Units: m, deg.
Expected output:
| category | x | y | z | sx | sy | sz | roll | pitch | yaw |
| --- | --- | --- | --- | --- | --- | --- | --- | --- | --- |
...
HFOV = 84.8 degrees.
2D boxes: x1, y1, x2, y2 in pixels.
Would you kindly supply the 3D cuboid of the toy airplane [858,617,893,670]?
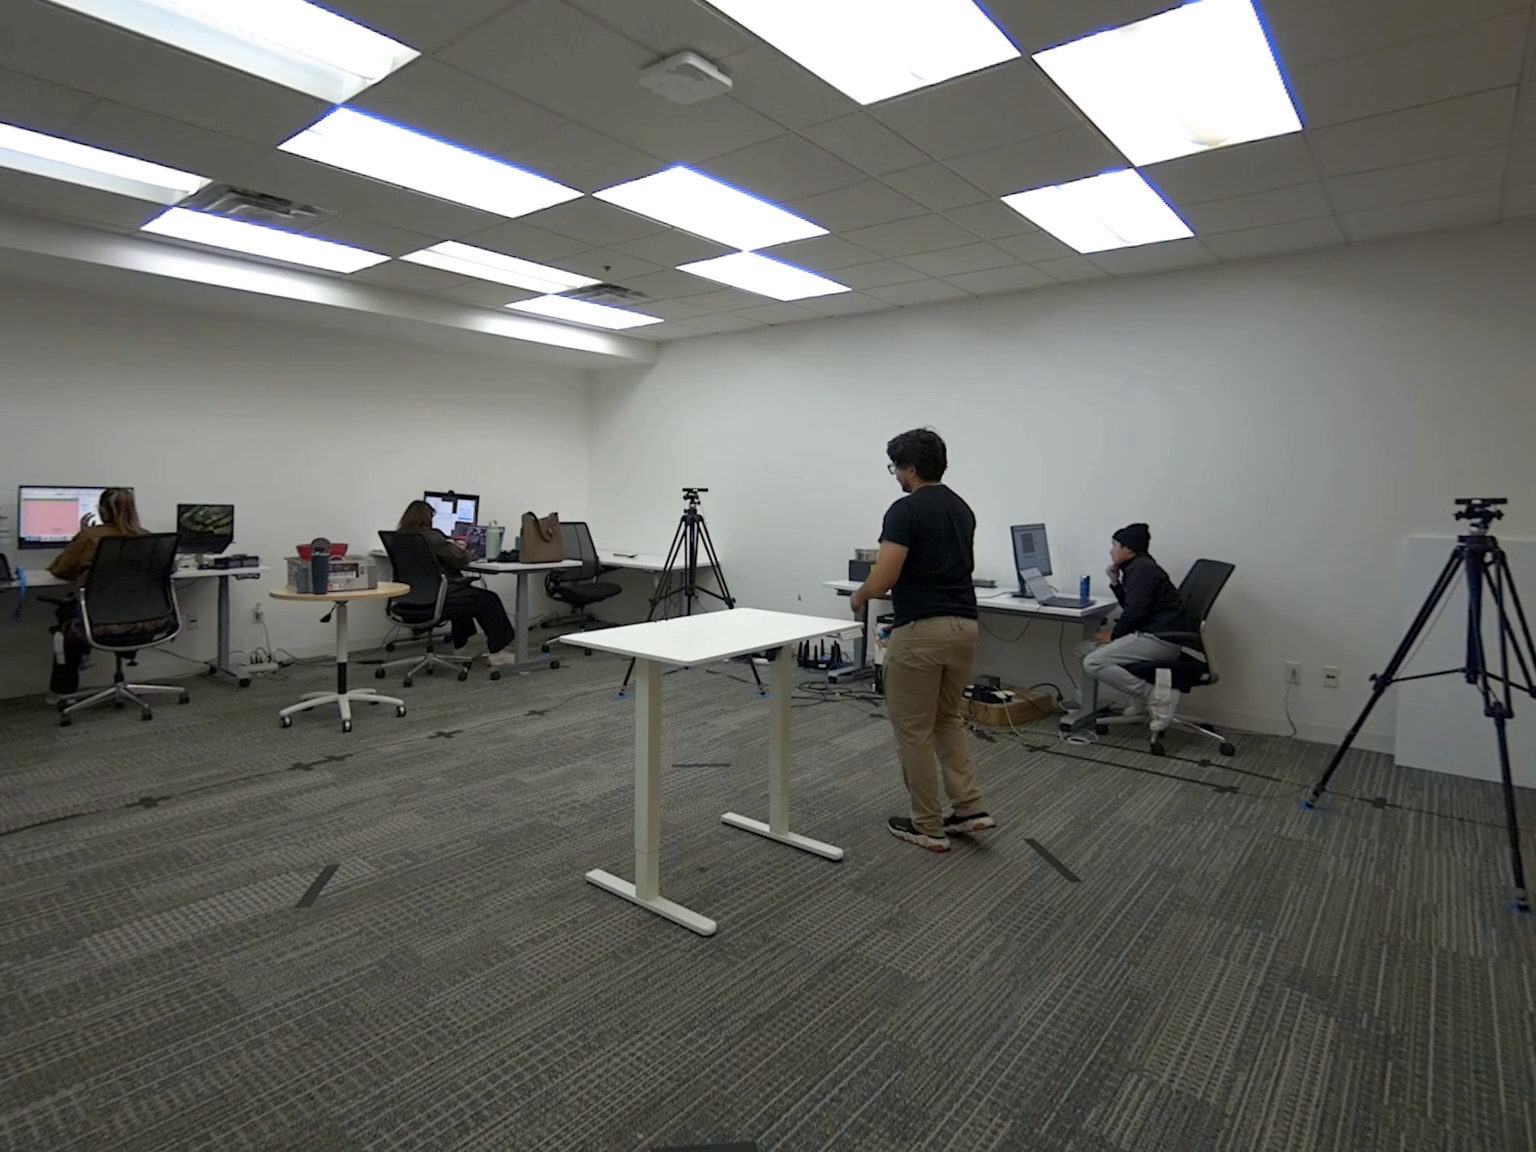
| category | x | y | z | sx | sy | sz | roll | pitch | yaw |
| --- | --- | --- | --- | --- | --- | --- | --- | --- | --- |
| toy airplane | 0.586 | 0.250 | 3.702 | 0.256 | 0.159 | 0.250 | -30 | -9 | -24 |
